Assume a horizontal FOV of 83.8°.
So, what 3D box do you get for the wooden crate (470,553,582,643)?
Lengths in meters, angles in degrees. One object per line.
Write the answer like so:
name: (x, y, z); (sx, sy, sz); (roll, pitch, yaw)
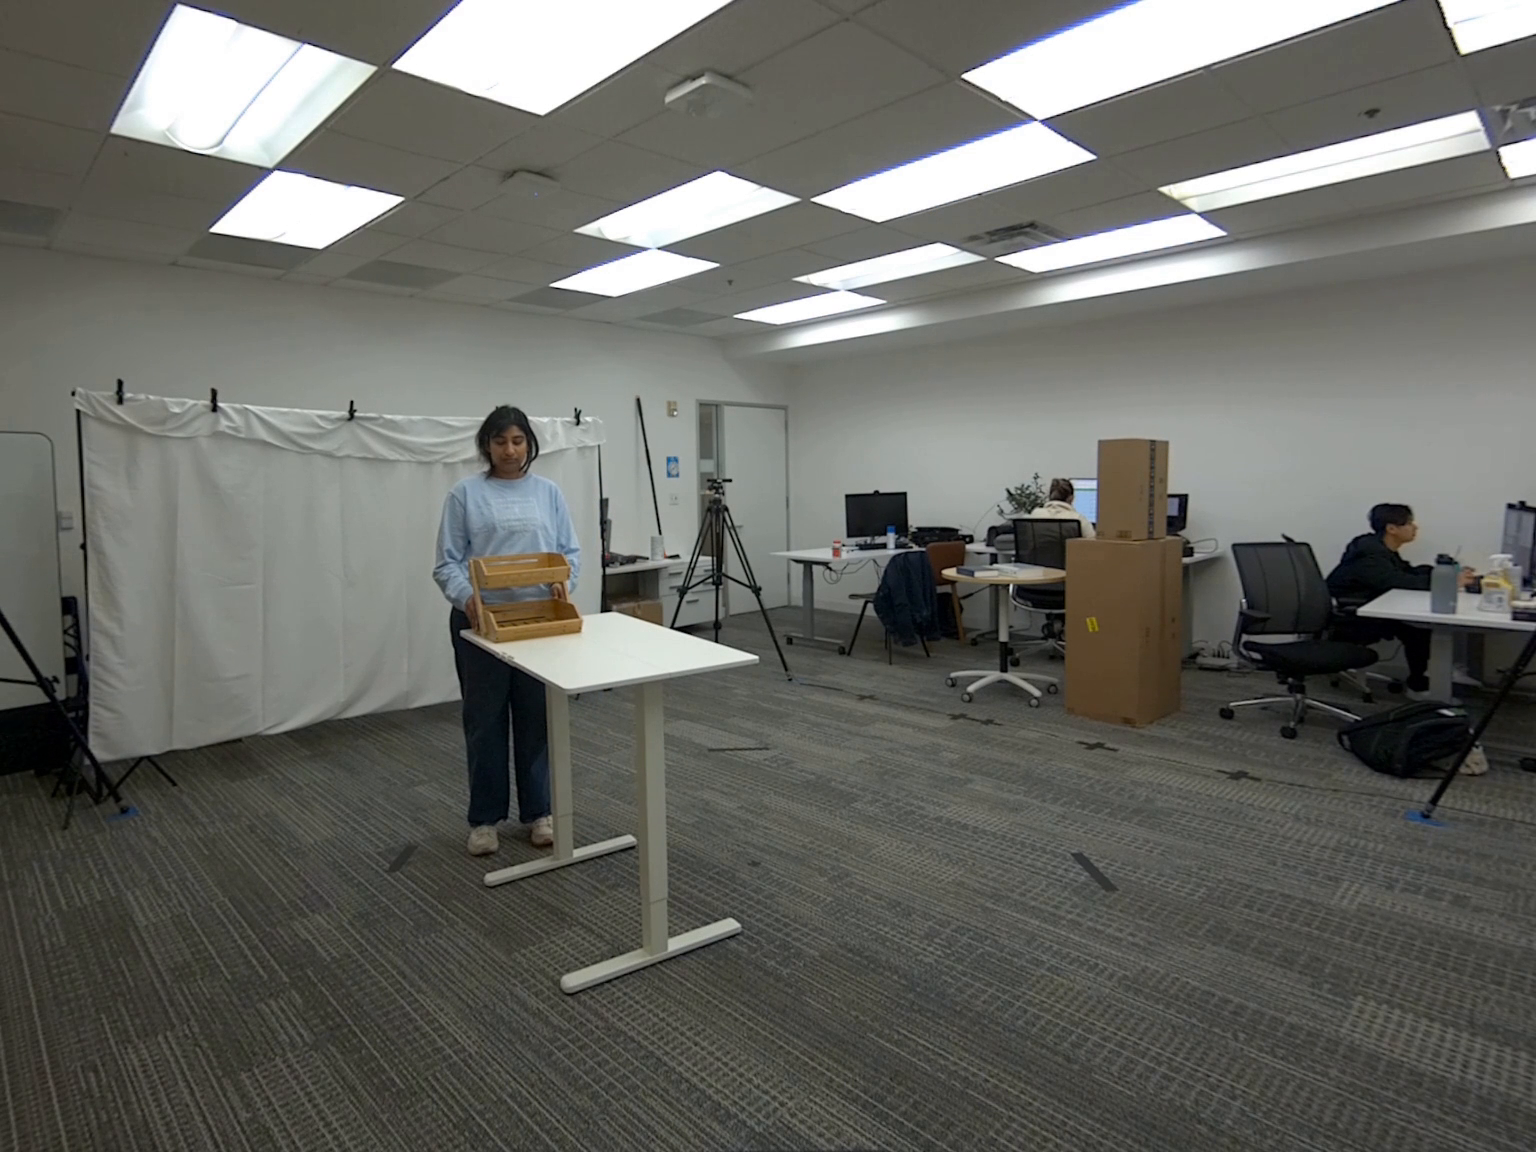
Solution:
wooden crate: (-0.845, 0.064, 2.953); (0.317, 0.272, 0.310); (-6, 6, -32)
